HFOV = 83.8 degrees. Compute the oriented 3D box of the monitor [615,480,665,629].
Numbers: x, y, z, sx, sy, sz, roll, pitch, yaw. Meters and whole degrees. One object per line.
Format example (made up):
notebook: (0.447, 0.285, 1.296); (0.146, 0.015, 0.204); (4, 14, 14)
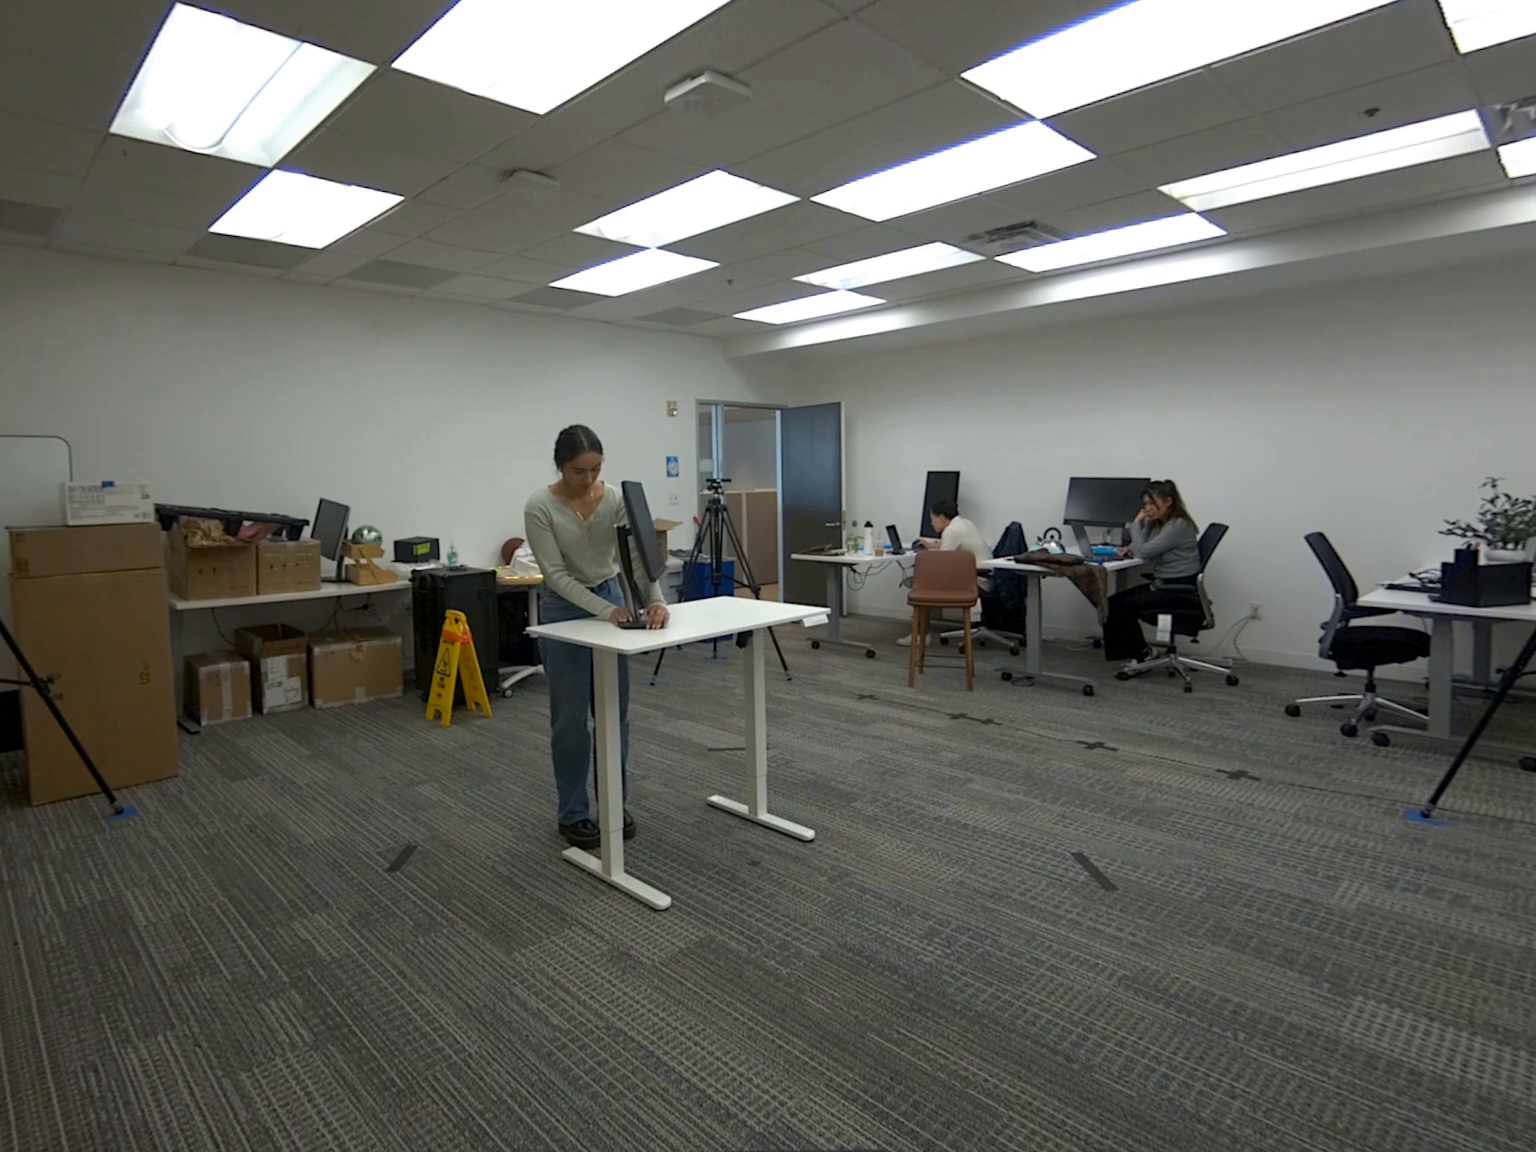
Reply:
monitor: (-0.461, -0.086, 3.090); (0.174, 0.515, 0.532); (1, 3, -3)
